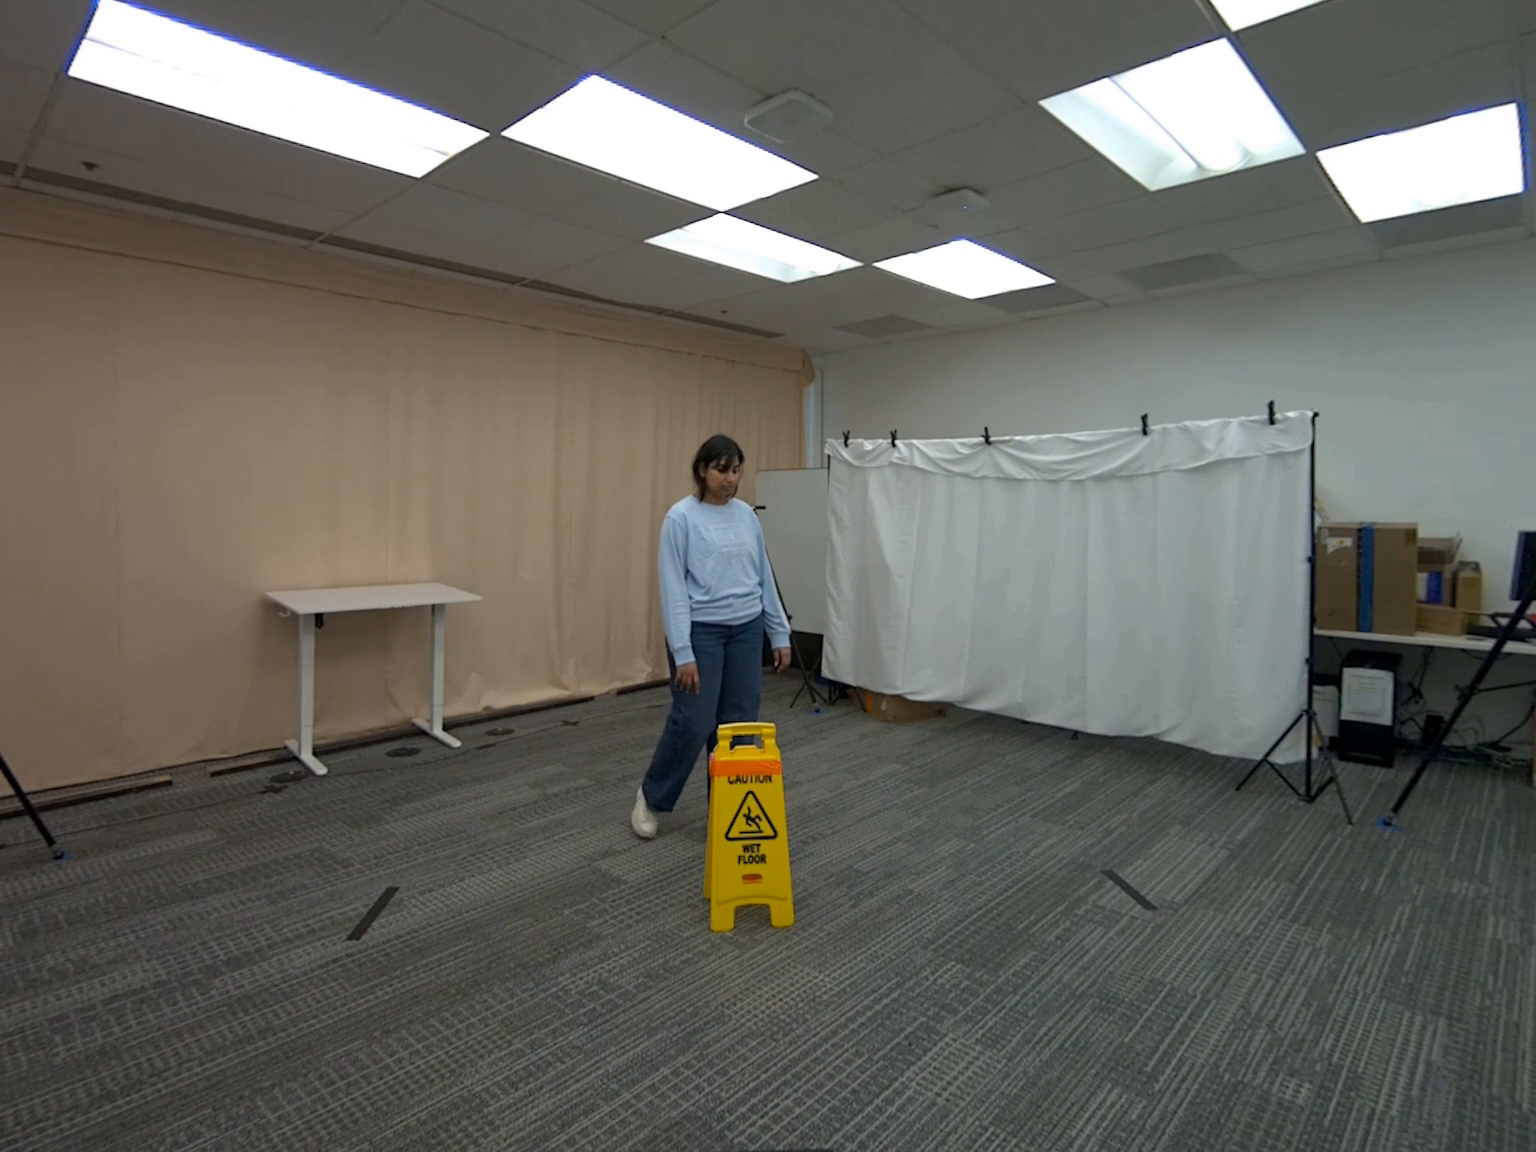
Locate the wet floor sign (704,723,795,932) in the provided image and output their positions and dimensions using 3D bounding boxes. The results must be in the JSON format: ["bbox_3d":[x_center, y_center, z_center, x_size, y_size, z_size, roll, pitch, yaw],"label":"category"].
[{"bbox_3d":[-0.077,0.829,2.876,0.280,0.644,0.292,-1,4,-7],"label":"wet floor sign"}]
